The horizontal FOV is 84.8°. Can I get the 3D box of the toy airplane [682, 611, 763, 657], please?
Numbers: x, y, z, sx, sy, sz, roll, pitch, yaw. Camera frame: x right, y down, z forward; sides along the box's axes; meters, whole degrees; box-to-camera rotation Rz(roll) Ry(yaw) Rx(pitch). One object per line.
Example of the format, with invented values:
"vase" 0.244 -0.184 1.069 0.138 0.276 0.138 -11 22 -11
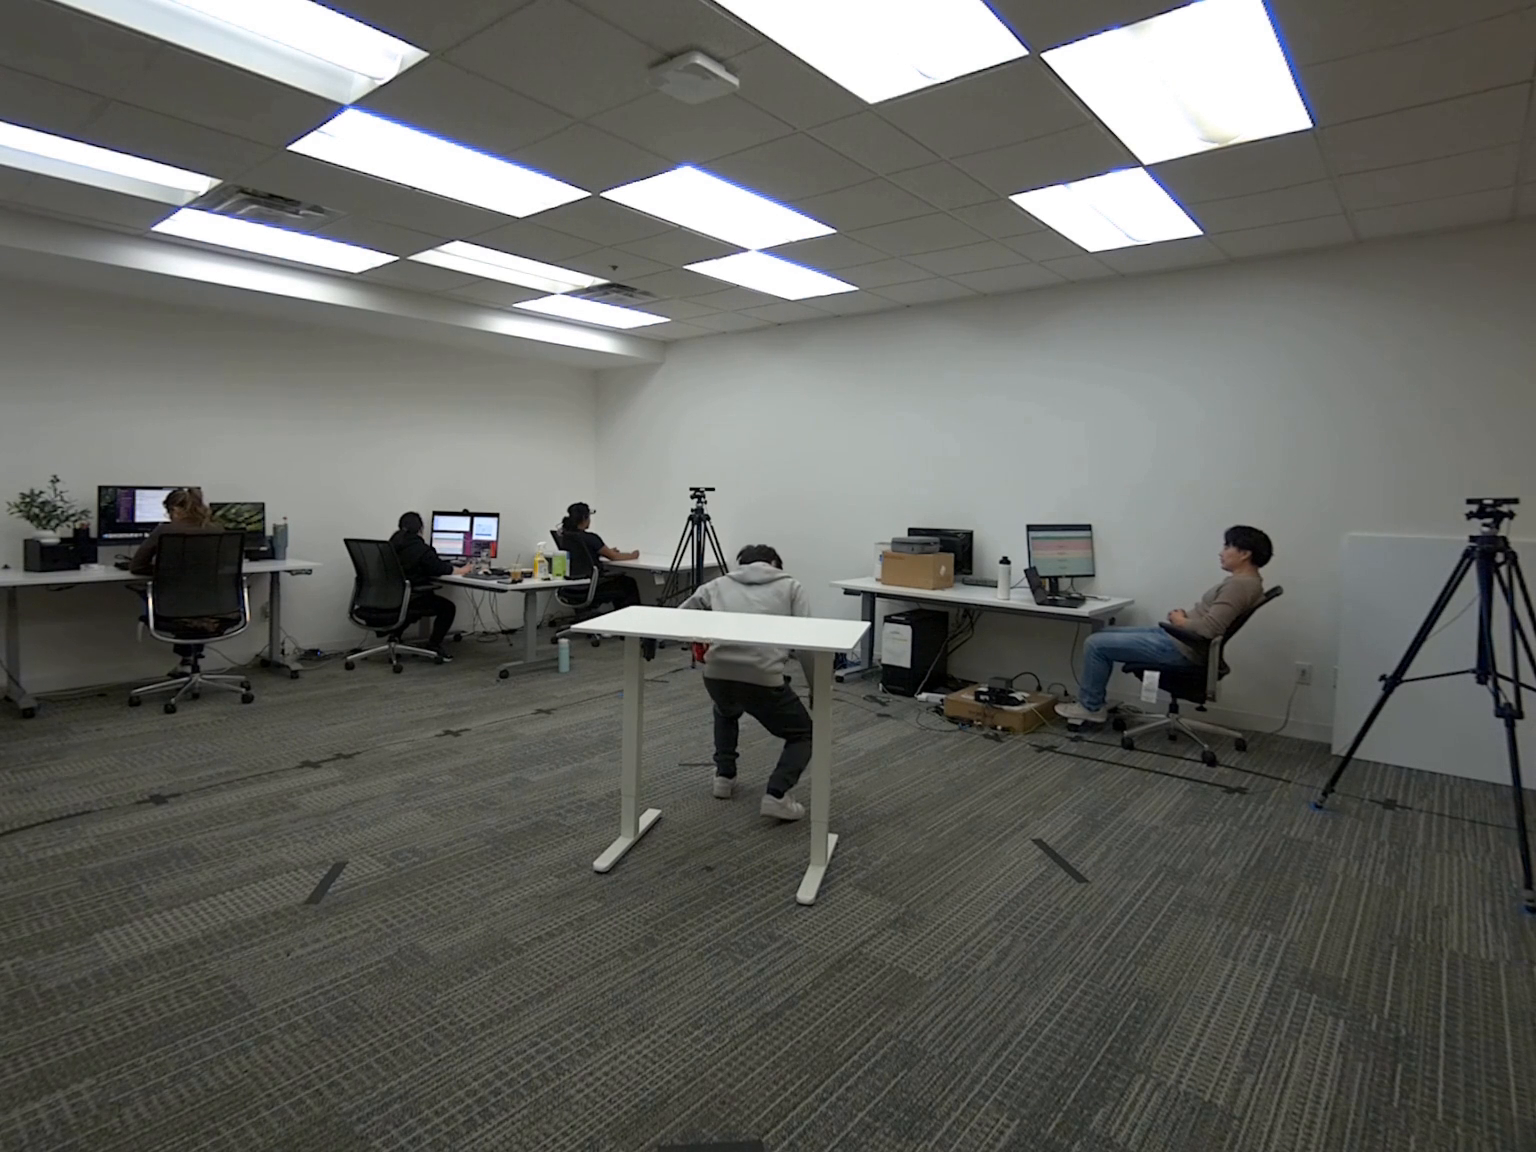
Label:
"toy airplane" -0.212 0.278 3.821 0.253 0.260 0.155 31 -20 4
